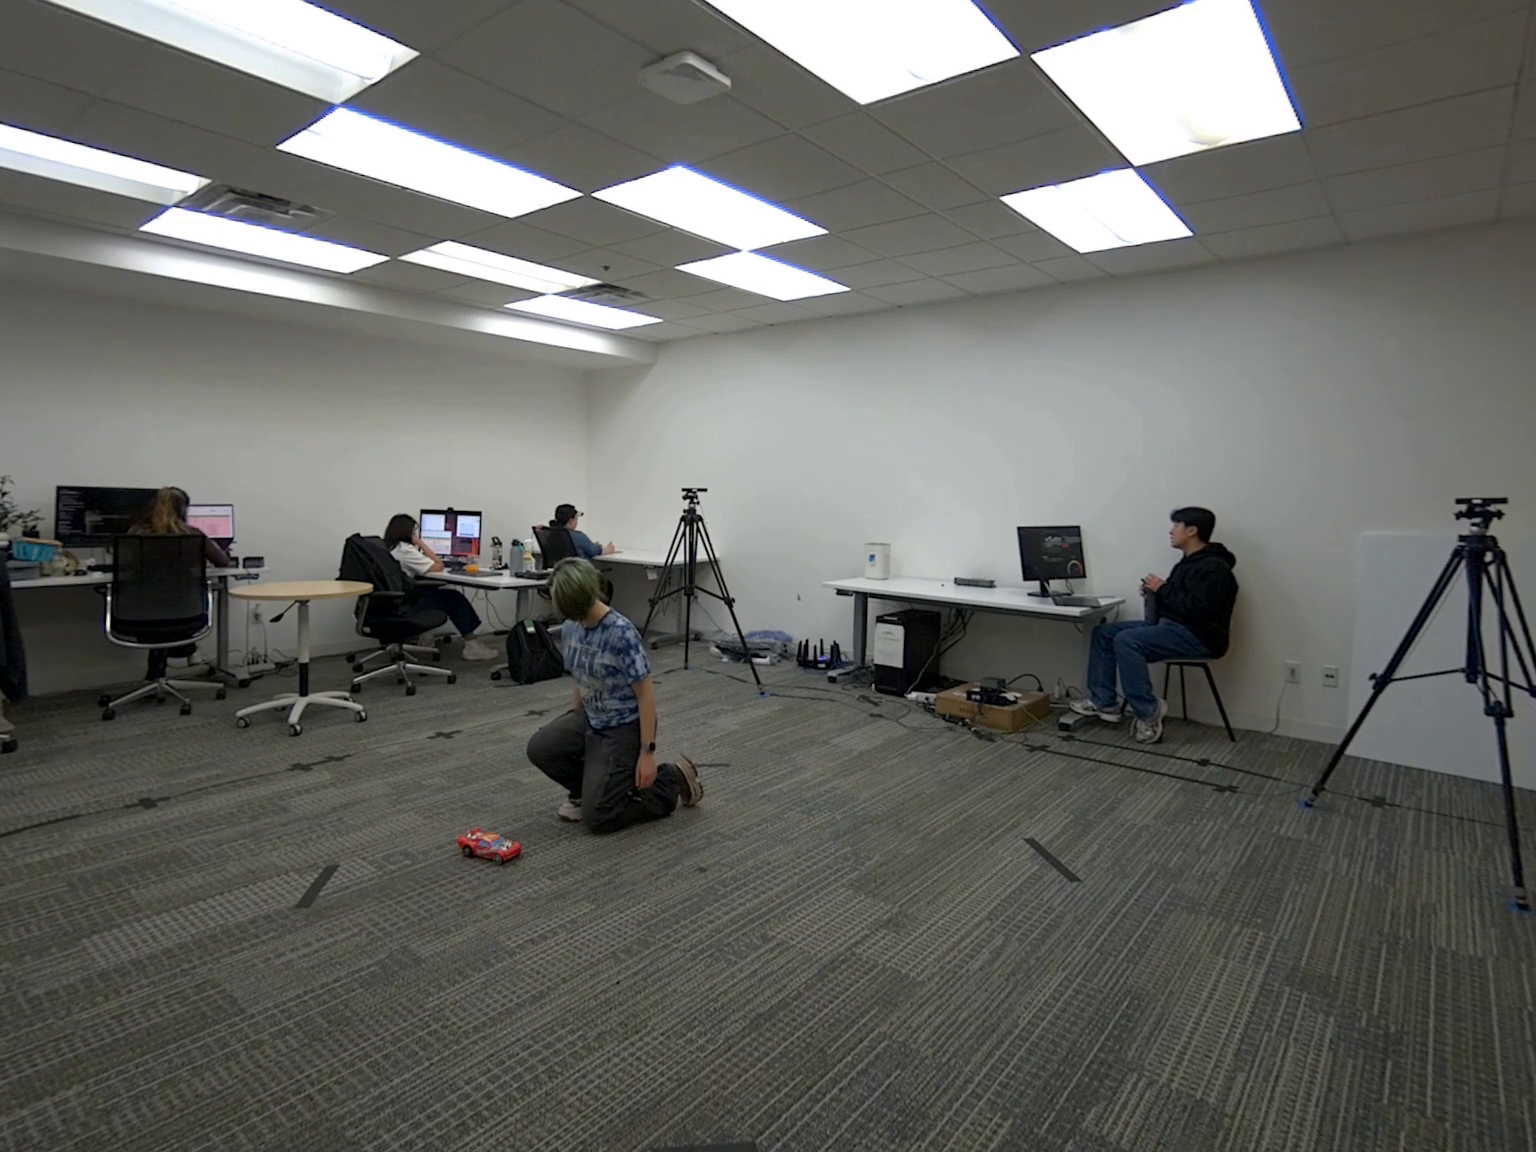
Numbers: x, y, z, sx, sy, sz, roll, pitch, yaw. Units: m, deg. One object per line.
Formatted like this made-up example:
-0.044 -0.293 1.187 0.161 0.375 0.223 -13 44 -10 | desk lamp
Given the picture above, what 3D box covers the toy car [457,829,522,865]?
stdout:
-1.075 1.020 3.196 0.262 0.083 0.127 15 10 25 | toy car
